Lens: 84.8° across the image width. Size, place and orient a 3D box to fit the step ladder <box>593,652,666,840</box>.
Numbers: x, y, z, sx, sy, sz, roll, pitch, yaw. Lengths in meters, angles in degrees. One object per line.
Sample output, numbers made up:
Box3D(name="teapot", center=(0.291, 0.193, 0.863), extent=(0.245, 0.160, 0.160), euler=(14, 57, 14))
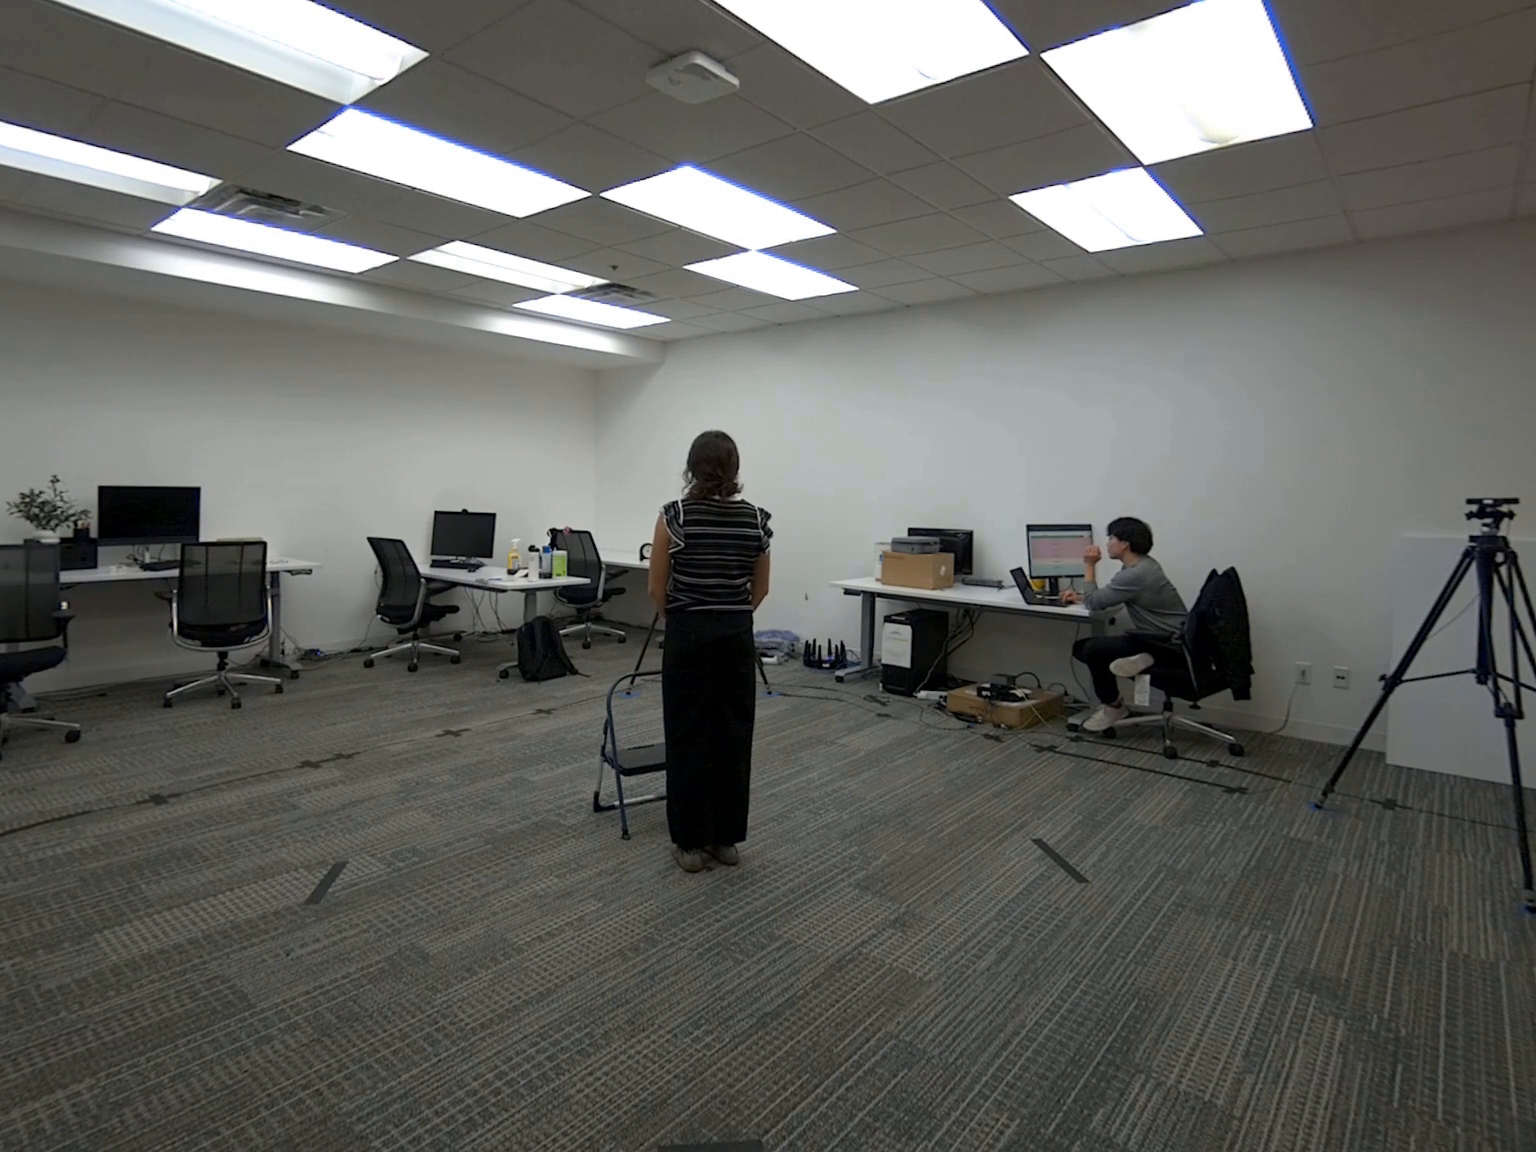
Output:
Box3D(name="step ladder", center=(-0.496, 0.713, 3.589), extent=(0.418, 0.604, 0.360), euler=(-1, 4, -33))
